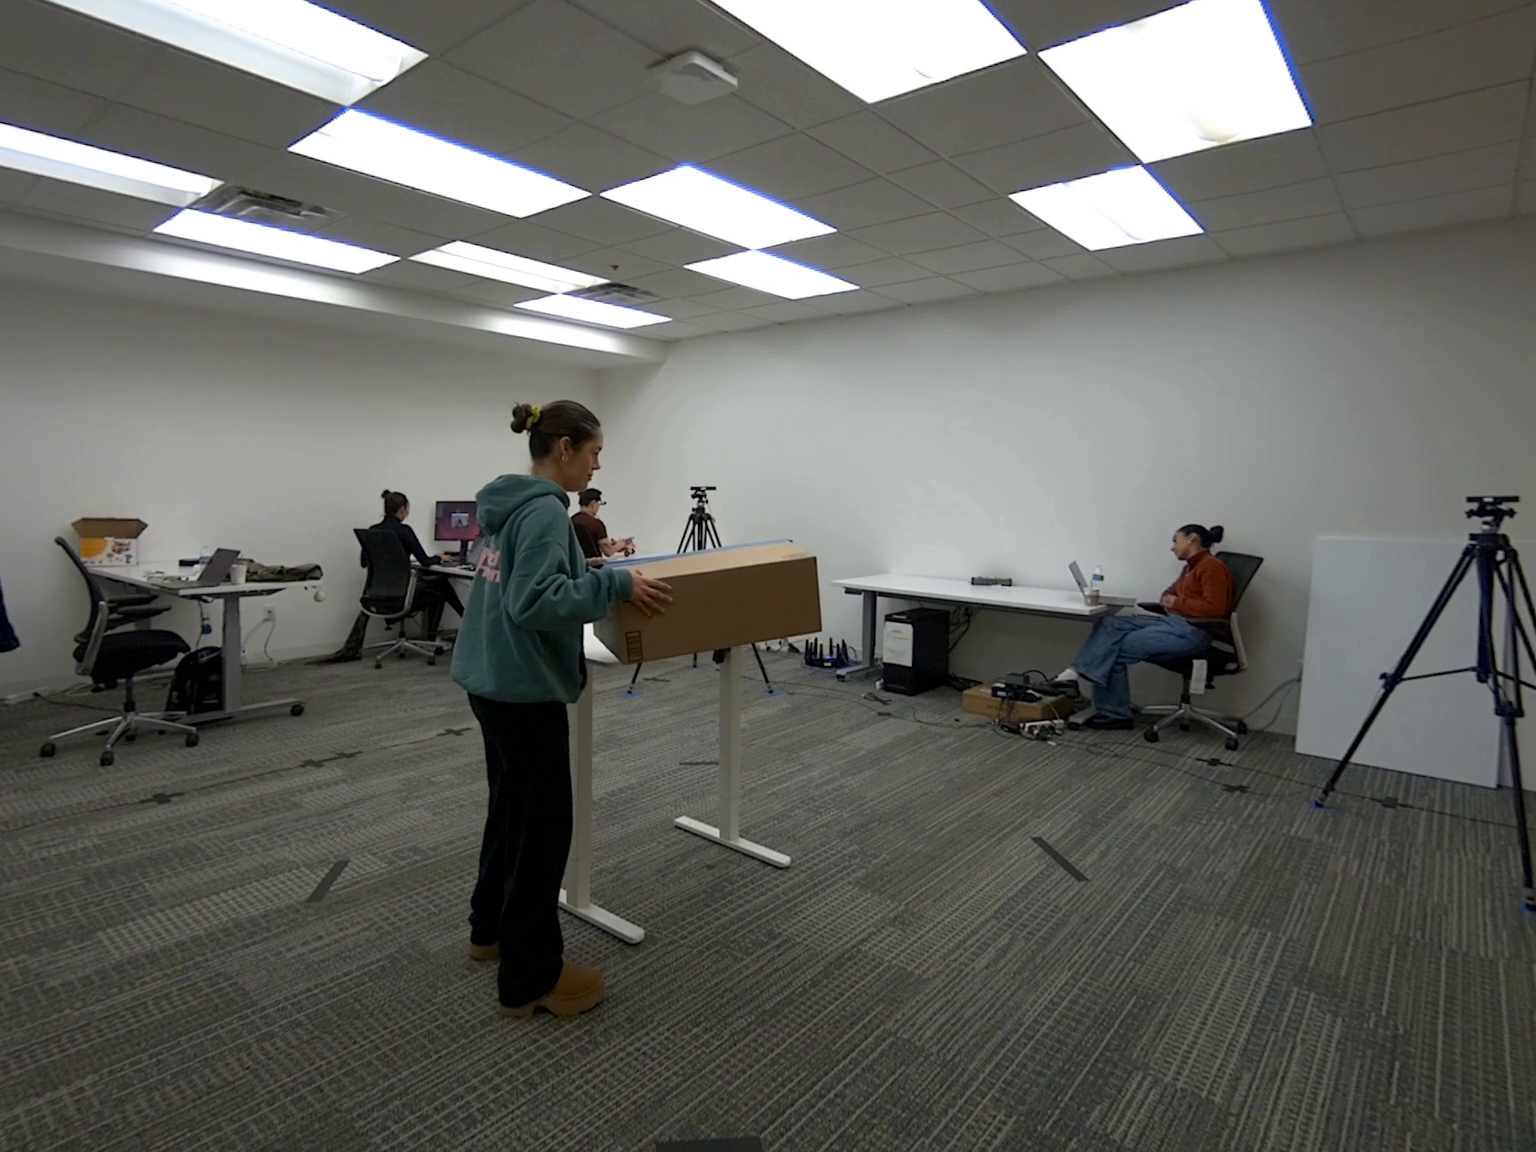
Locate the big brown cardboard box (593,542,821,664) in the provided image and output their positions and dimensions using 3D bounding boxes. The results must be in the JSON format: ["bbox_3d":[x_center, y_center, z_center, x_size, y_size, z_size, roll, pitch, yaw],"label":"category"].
[{"bbox_3d":[-0.205,0.049,2.457,0.580,0.231,0.427,-7,8,-17],"label":"big brown cardboard box"}]
